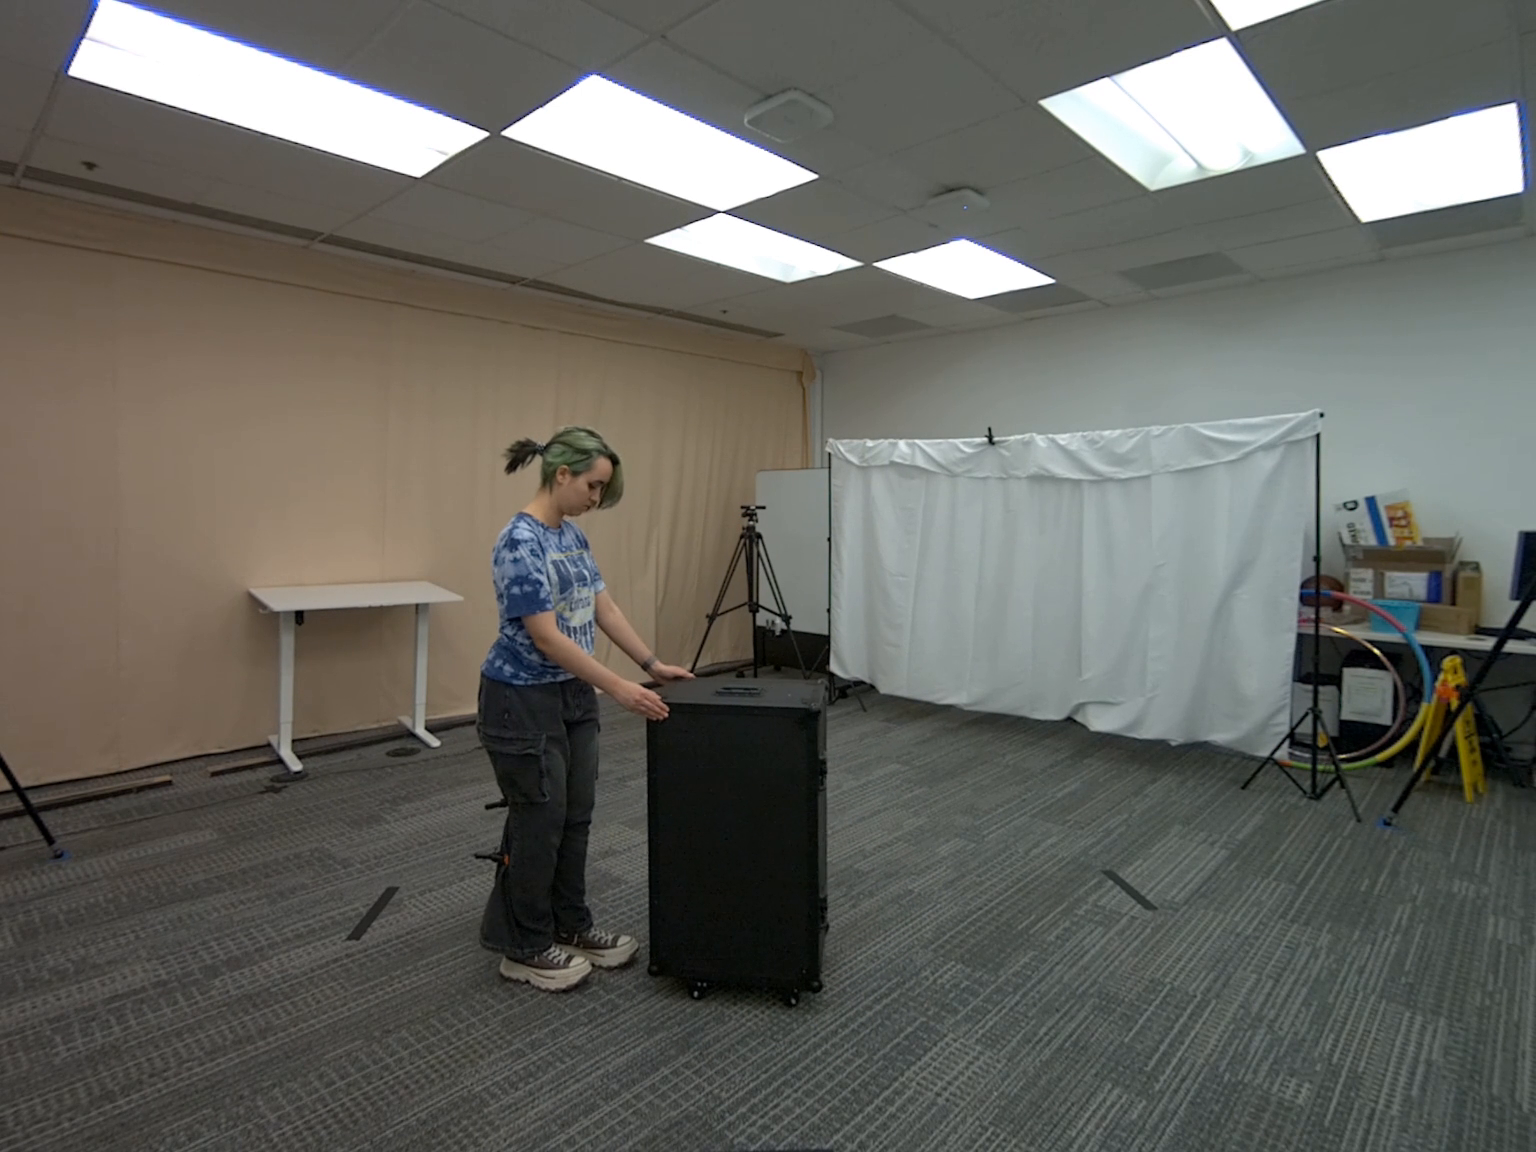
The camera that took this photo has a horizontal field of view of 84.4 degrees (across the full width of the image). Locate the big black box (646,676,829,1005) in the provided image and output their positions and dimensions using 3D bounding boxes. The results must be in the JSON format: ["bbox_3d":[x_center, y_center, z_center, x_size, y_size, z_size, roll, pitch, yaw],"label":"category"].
[{"bbox_3d":[-0.077,0.768,2.487,0.527,0.860,0.392,0,3,10],"label":"big black box"}]
